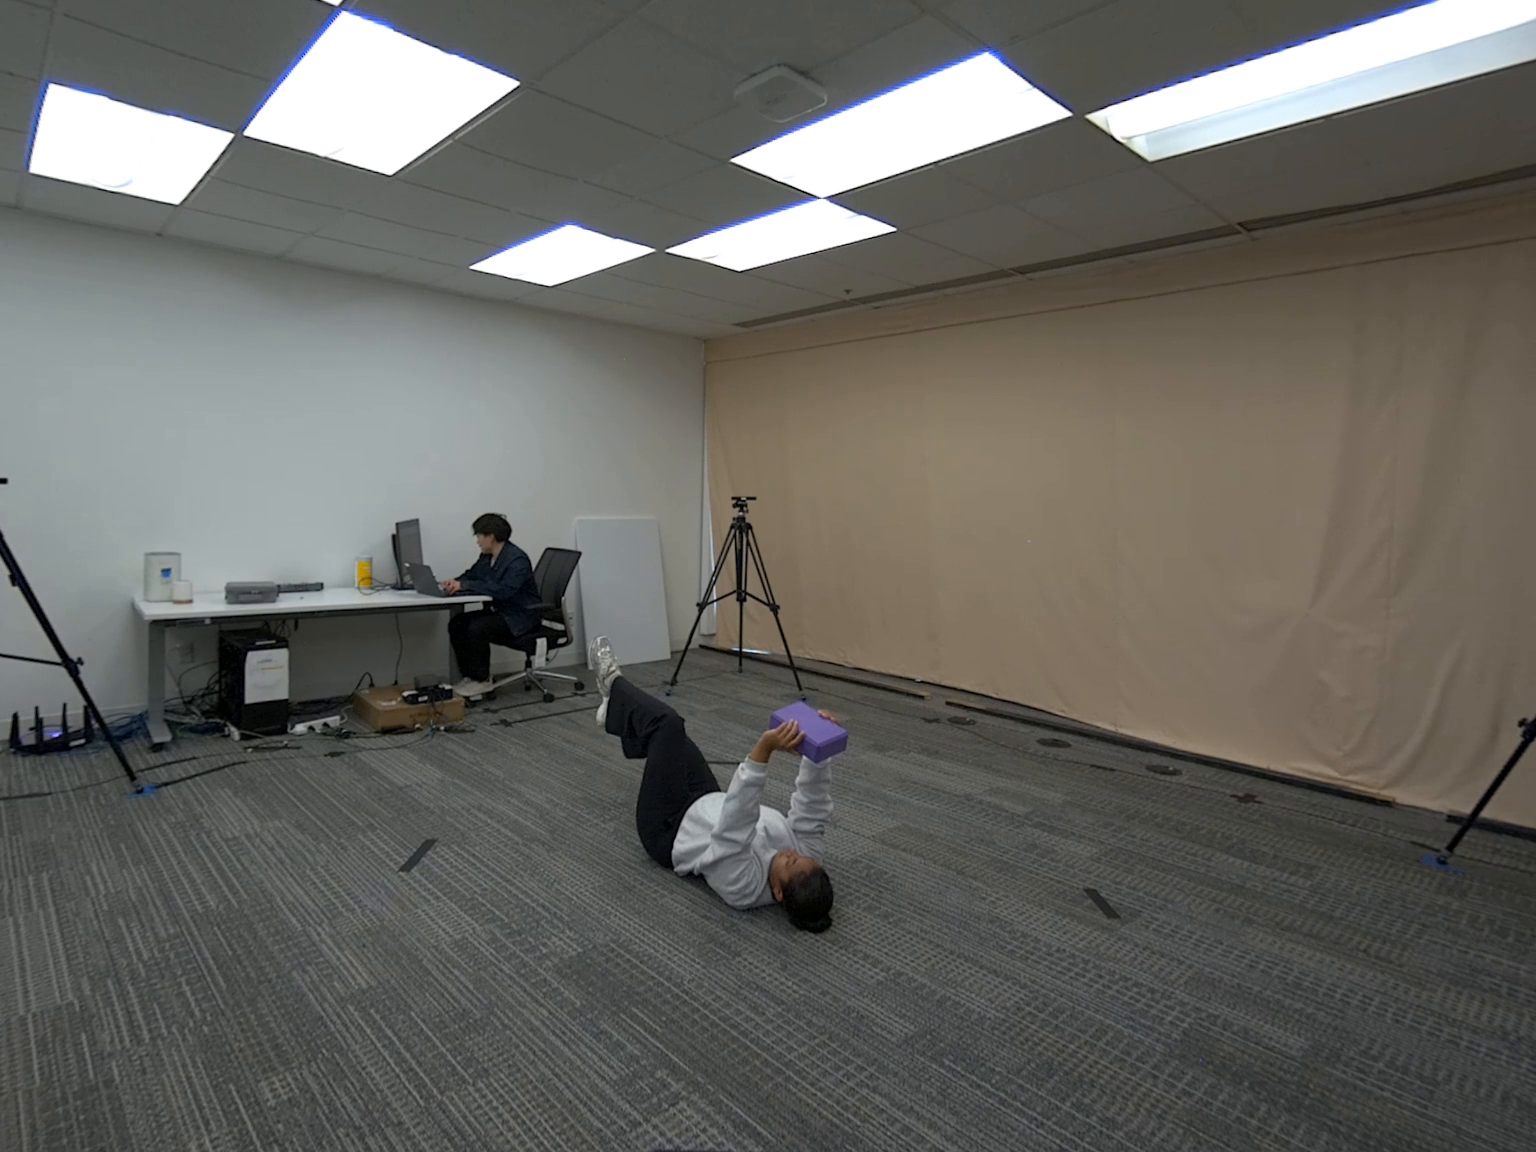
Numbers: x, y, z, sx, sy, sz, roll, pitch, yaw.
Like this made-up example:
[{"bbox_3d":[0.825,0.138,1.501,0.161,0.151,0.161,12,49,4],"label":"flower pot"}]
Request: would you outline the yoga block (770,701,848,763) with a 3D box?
[{"bbox_3d":[0.127,0.515,2.765,0.146,0.075,0.236,-14,28,-40],"label":"yoga block"}]
